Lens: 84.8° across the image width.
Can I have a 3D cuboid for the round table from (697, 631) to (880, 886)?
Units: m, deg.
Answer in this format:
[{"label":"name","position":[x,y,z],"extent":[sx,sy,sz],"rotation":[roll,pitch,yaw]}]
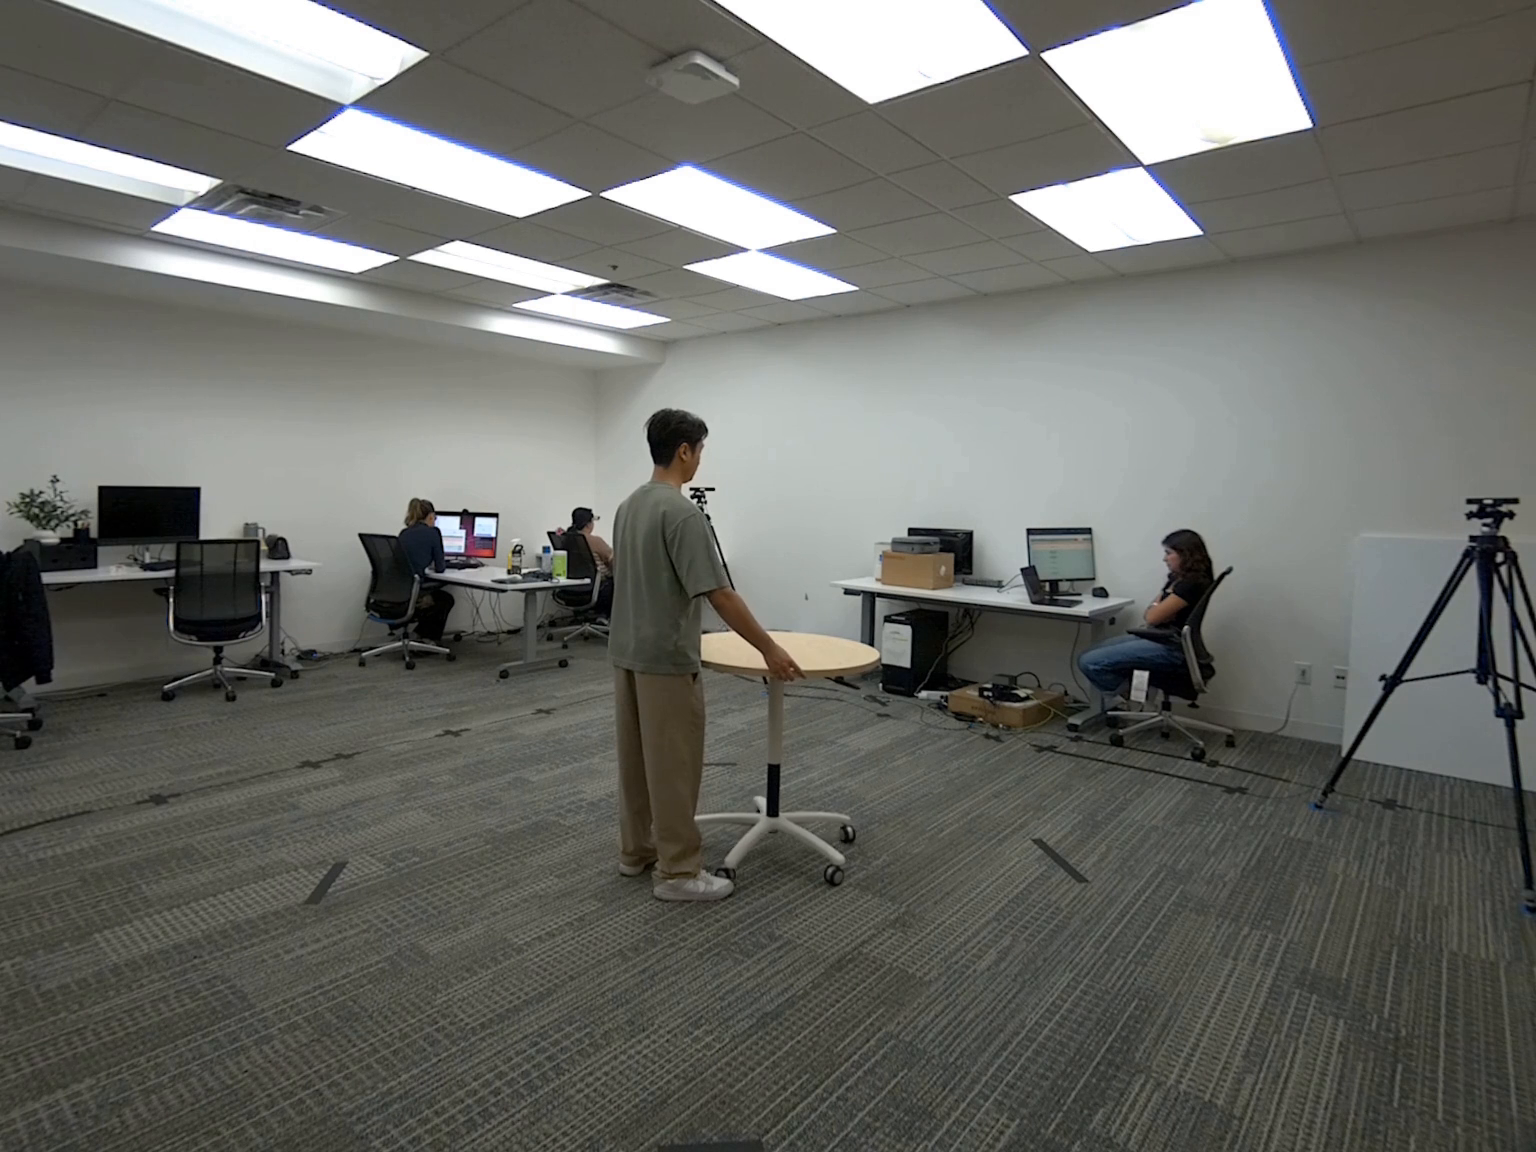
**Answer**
[{"label":"round table","position":[0.009,0.660,3.258],"extent":[0.784,0.784,0.789],"rotation":[1,4,-2]}]
